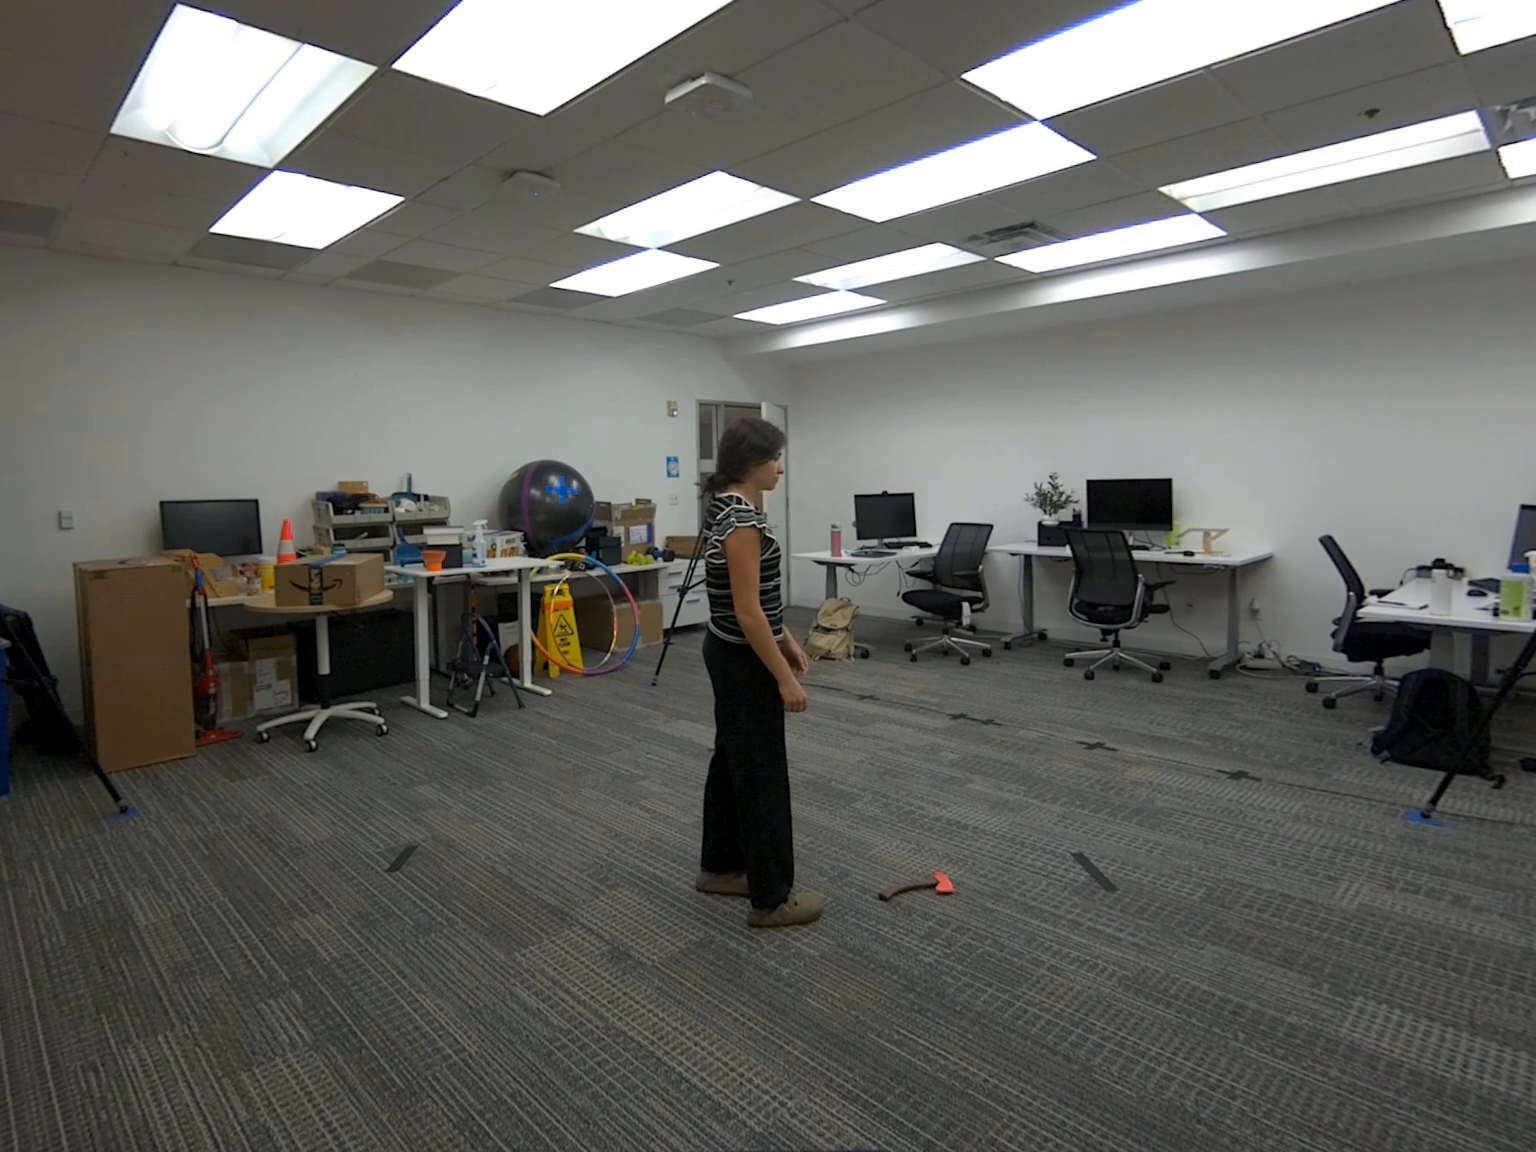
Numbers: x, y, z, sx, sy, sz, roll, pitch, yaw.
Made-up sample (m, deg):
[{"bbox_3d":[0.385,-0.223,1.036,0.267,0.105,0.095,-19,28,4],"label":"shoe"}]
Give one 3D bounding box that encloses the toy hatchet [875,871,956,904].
[{"bbox_3d":[0.509,1.044,2.854,0.264,0.029,0.135,-8,12,-33],"label":"toy hatchet"}]
